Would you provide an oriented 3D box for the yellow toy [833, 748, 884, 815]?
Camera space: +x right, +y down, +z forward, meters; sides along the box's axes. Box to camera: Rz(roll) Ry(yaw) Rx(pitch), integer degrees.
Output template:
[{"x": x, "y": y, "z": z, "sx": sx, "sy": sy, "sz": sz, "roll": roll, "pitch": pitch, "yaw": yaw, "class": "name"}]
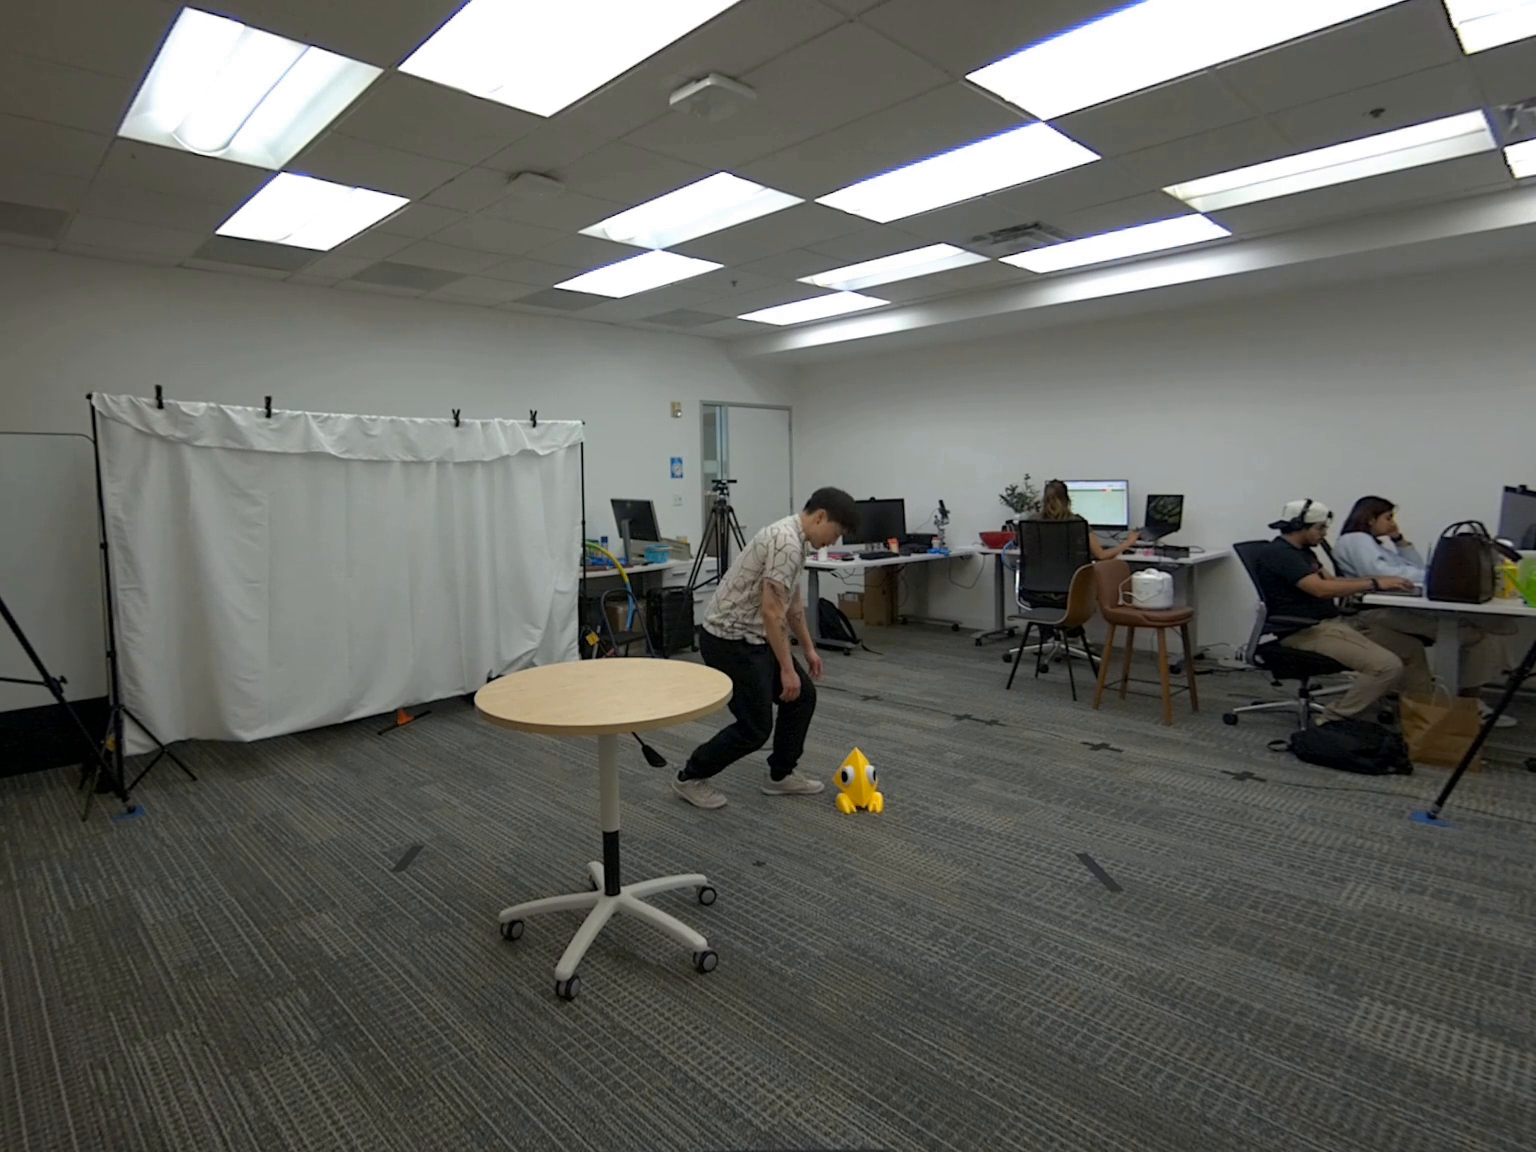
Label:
[{"x": 0.394, "y": 0.868, "z": 3.649, "sx": 0.204, "sy": 0.230, "sz": 0.194, "roll": -1, "pitch": 3, "yaw": -3, "class": "yellow toy"}]
